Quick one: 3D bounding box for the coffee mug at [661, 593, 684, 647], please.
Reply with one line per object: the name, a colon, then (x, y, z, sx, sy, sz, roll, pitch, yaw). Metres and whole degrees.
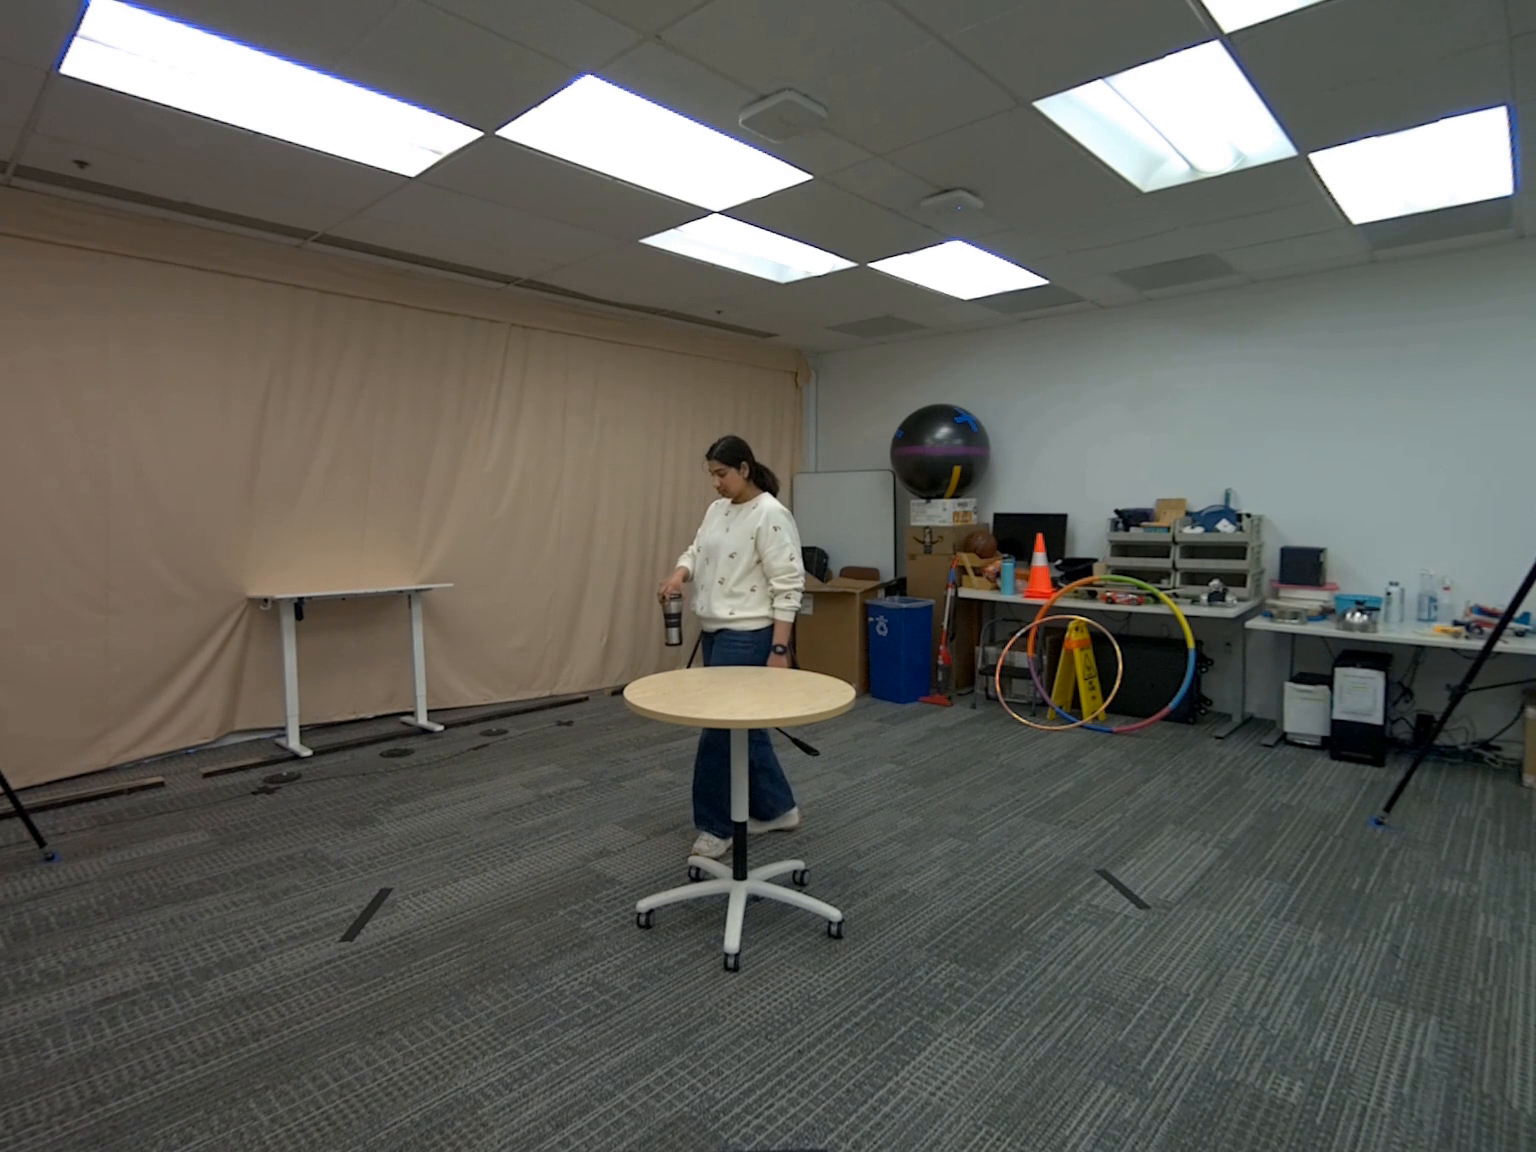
coffee mug: (-0.359, 0.180, 3.419, 0.090, 0.203, 0.118, -7, 0, 45)
